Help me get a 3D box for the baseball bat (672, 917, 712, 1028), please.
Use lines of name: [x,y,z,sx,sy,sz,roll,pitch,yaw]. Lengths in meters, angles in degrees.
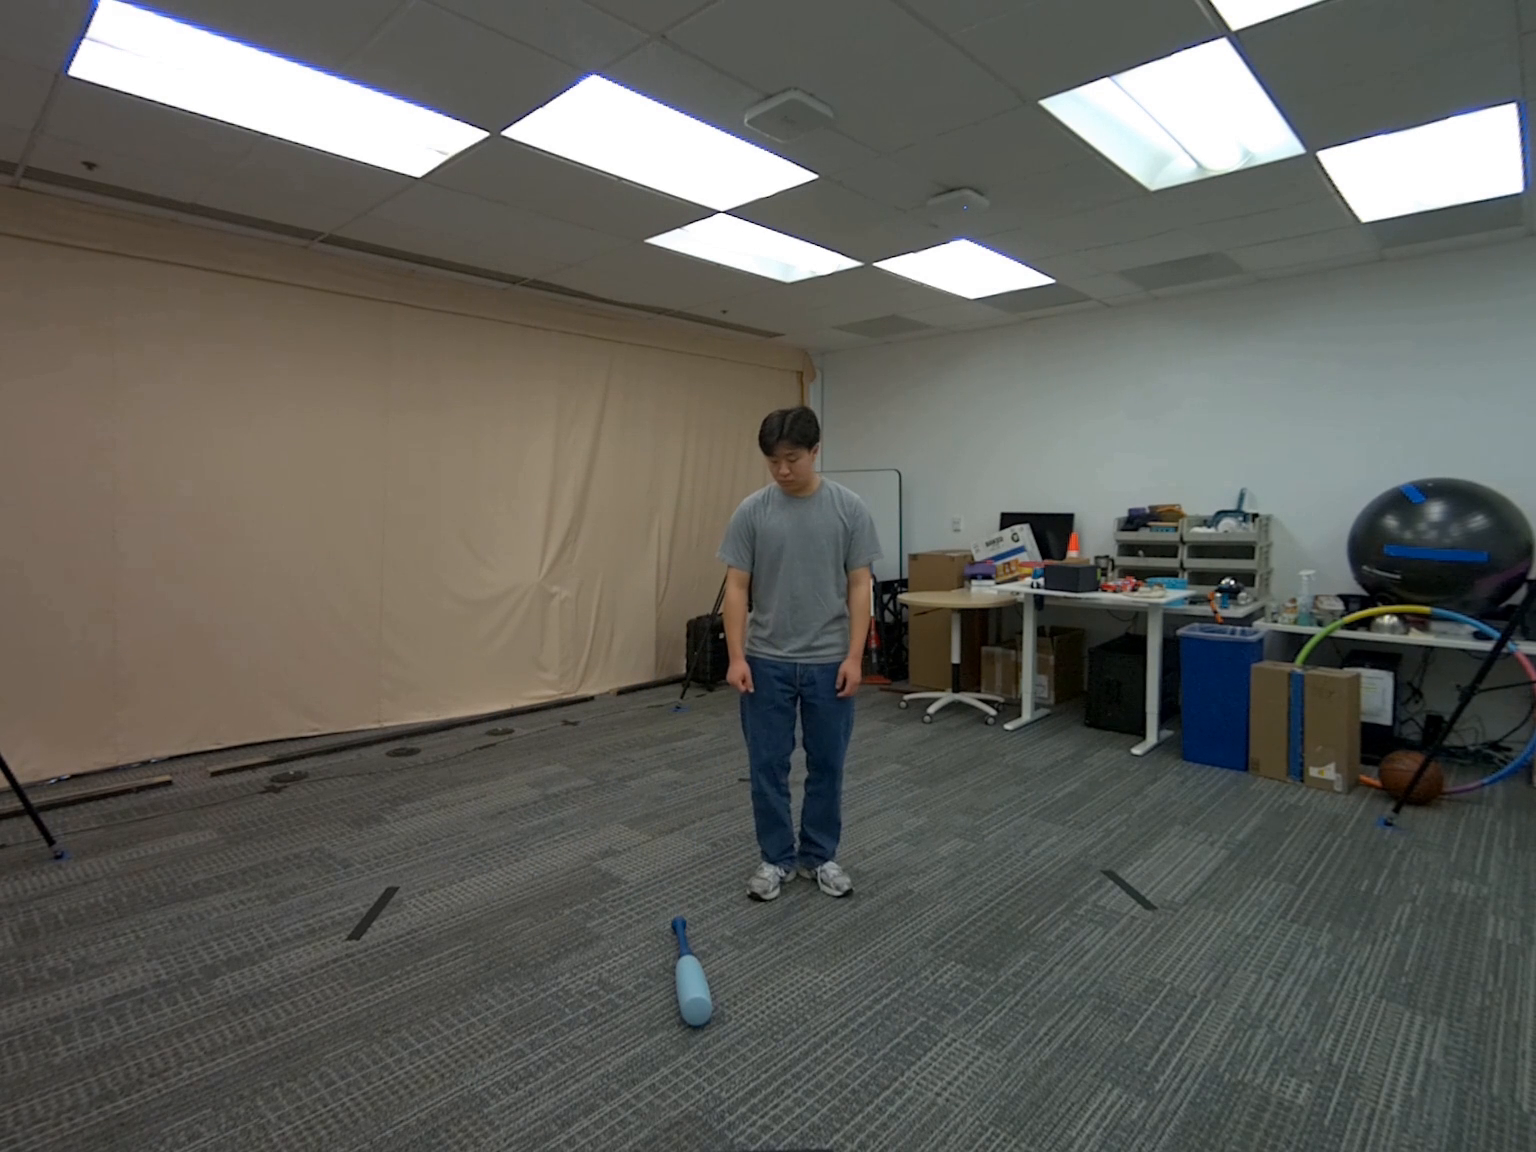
baseball bat: [-0.235,1.152,2.490,0.088,0.089,0.548,-1,1,-10]
